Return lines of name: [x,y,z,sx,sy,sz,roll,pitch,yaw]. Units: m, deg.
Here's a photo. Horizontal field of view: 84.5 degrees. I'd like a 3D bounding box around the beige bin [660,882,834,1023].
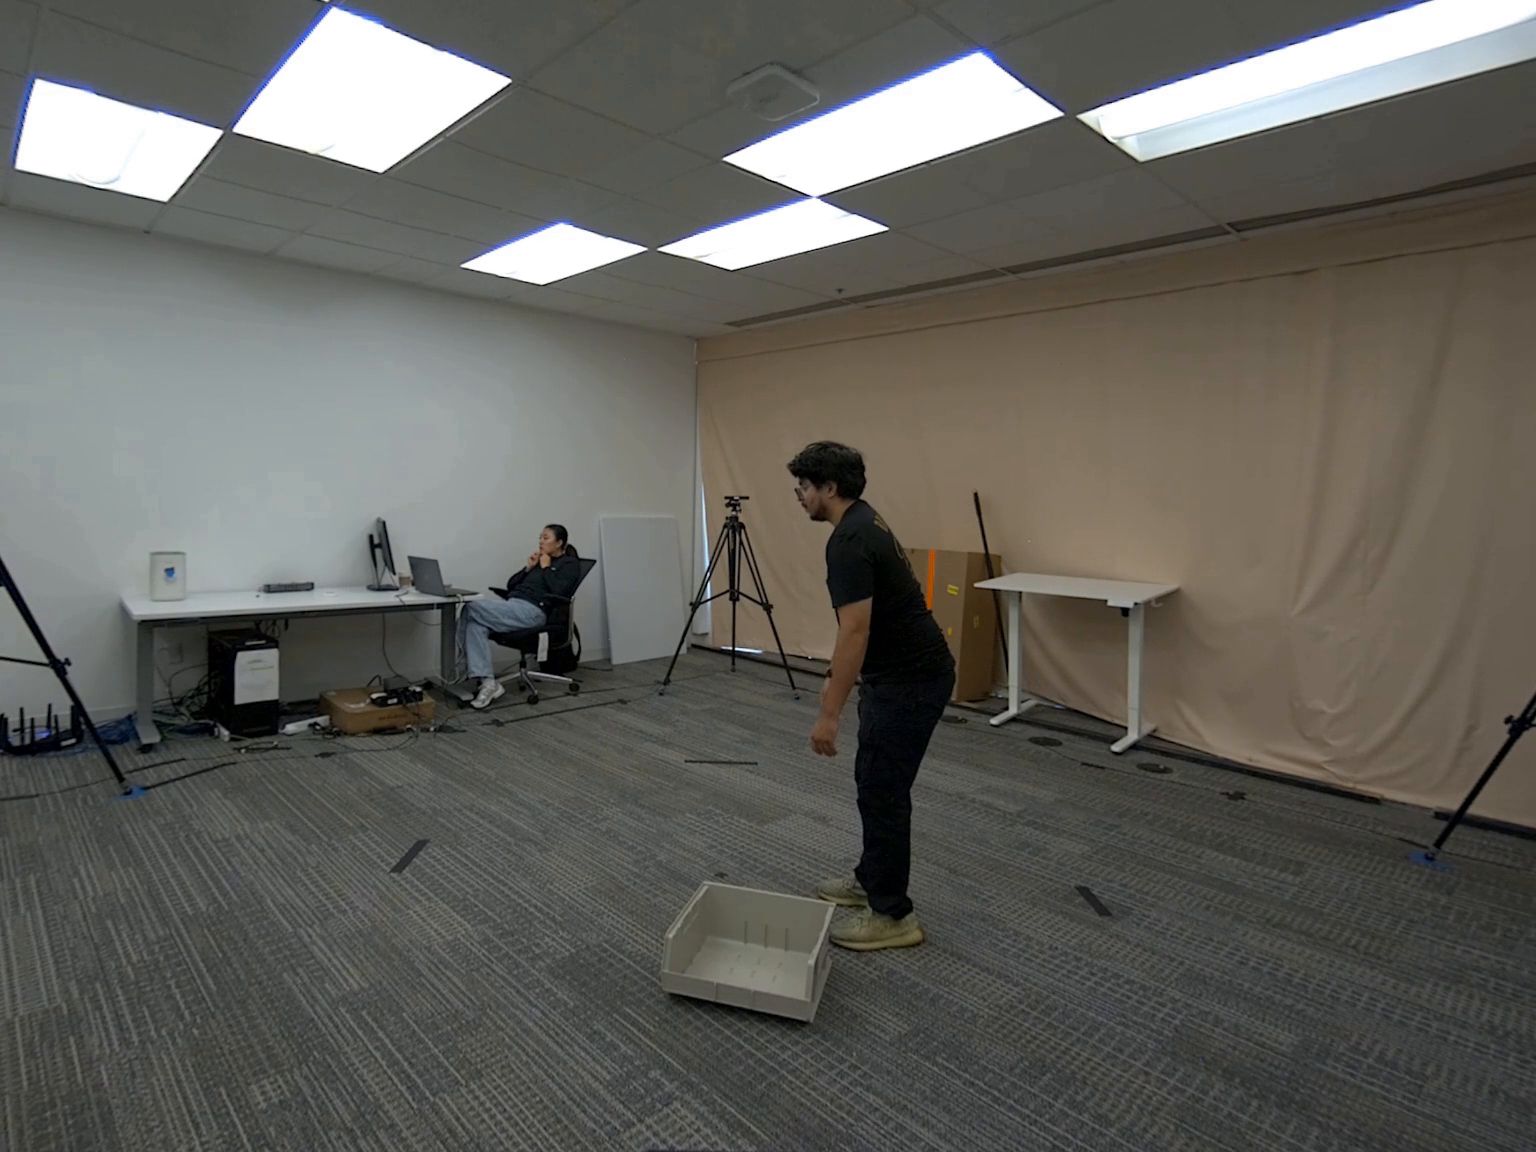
beige bin: [-0.047,1.083,2.415,0.428,0.188,0.373,2,4,15]
